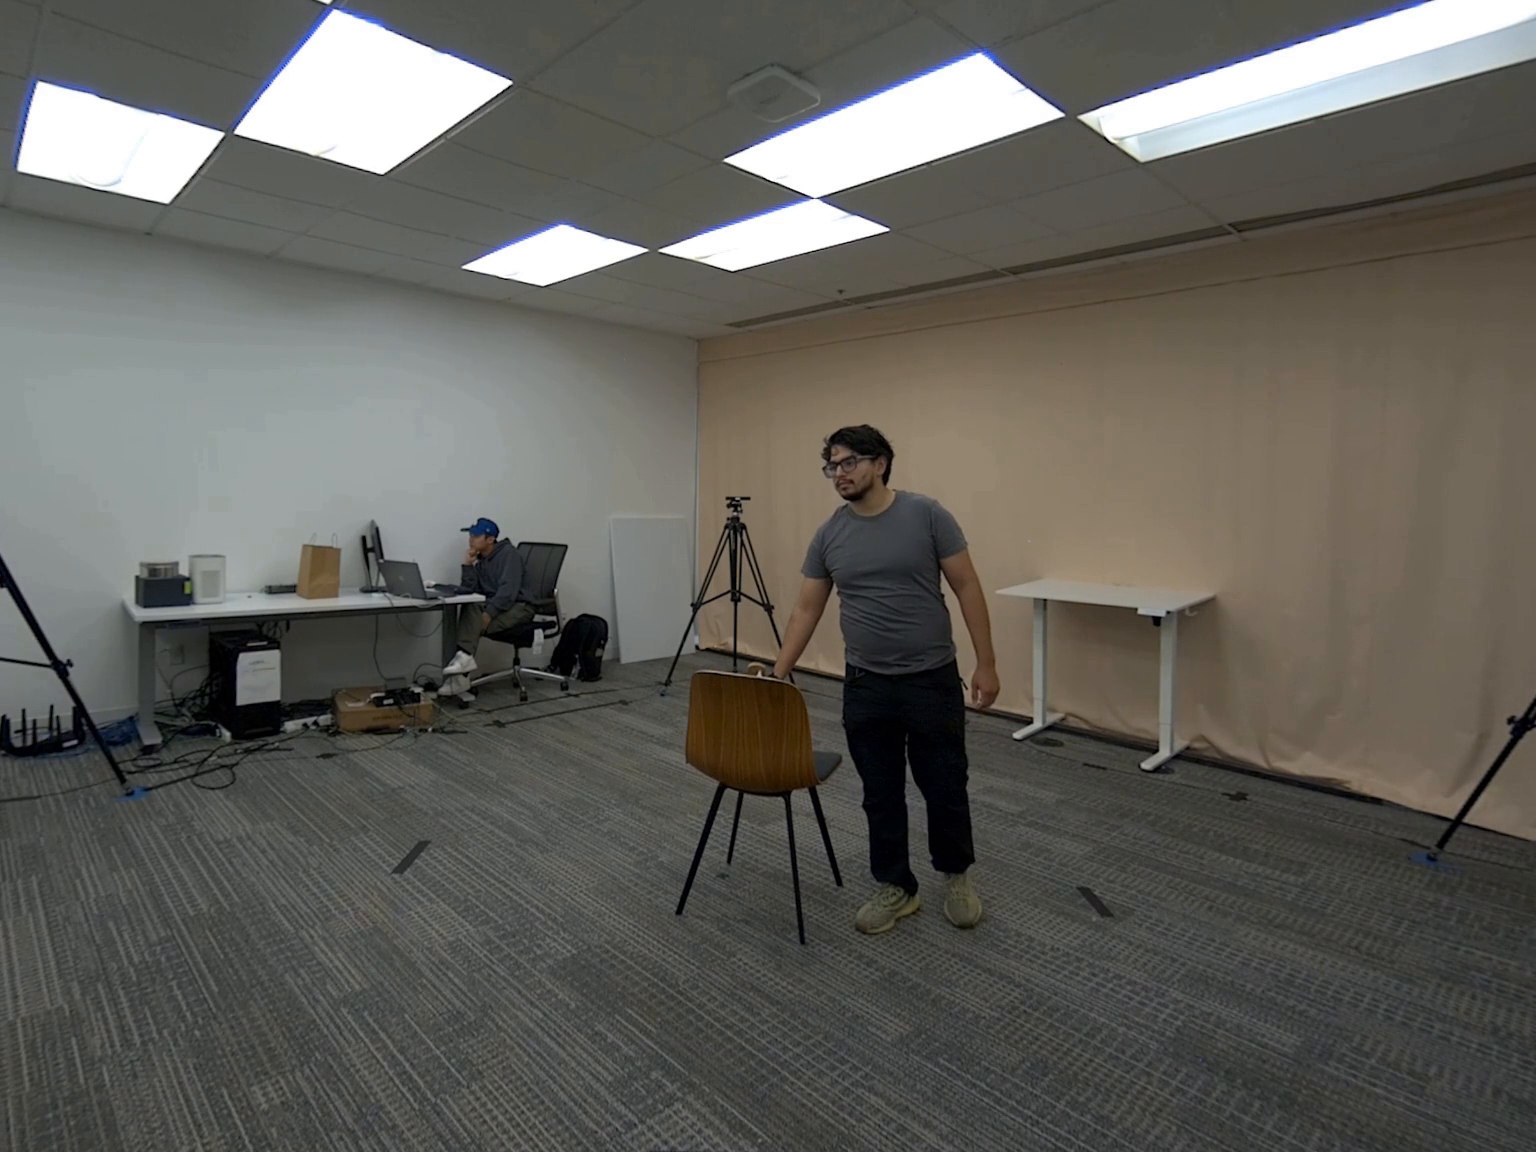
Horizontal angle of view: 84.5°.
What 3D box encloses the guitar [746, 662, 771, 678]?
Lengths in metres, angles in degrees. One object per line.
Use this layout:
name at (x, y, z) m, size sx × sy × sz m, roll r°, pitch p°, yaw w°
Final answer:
guitar at (-0.069, 0.456, 2.791) m, size 0.195 × 0.484 × 0.072 m, roll 1°, pitch 46°, yaw 13°
